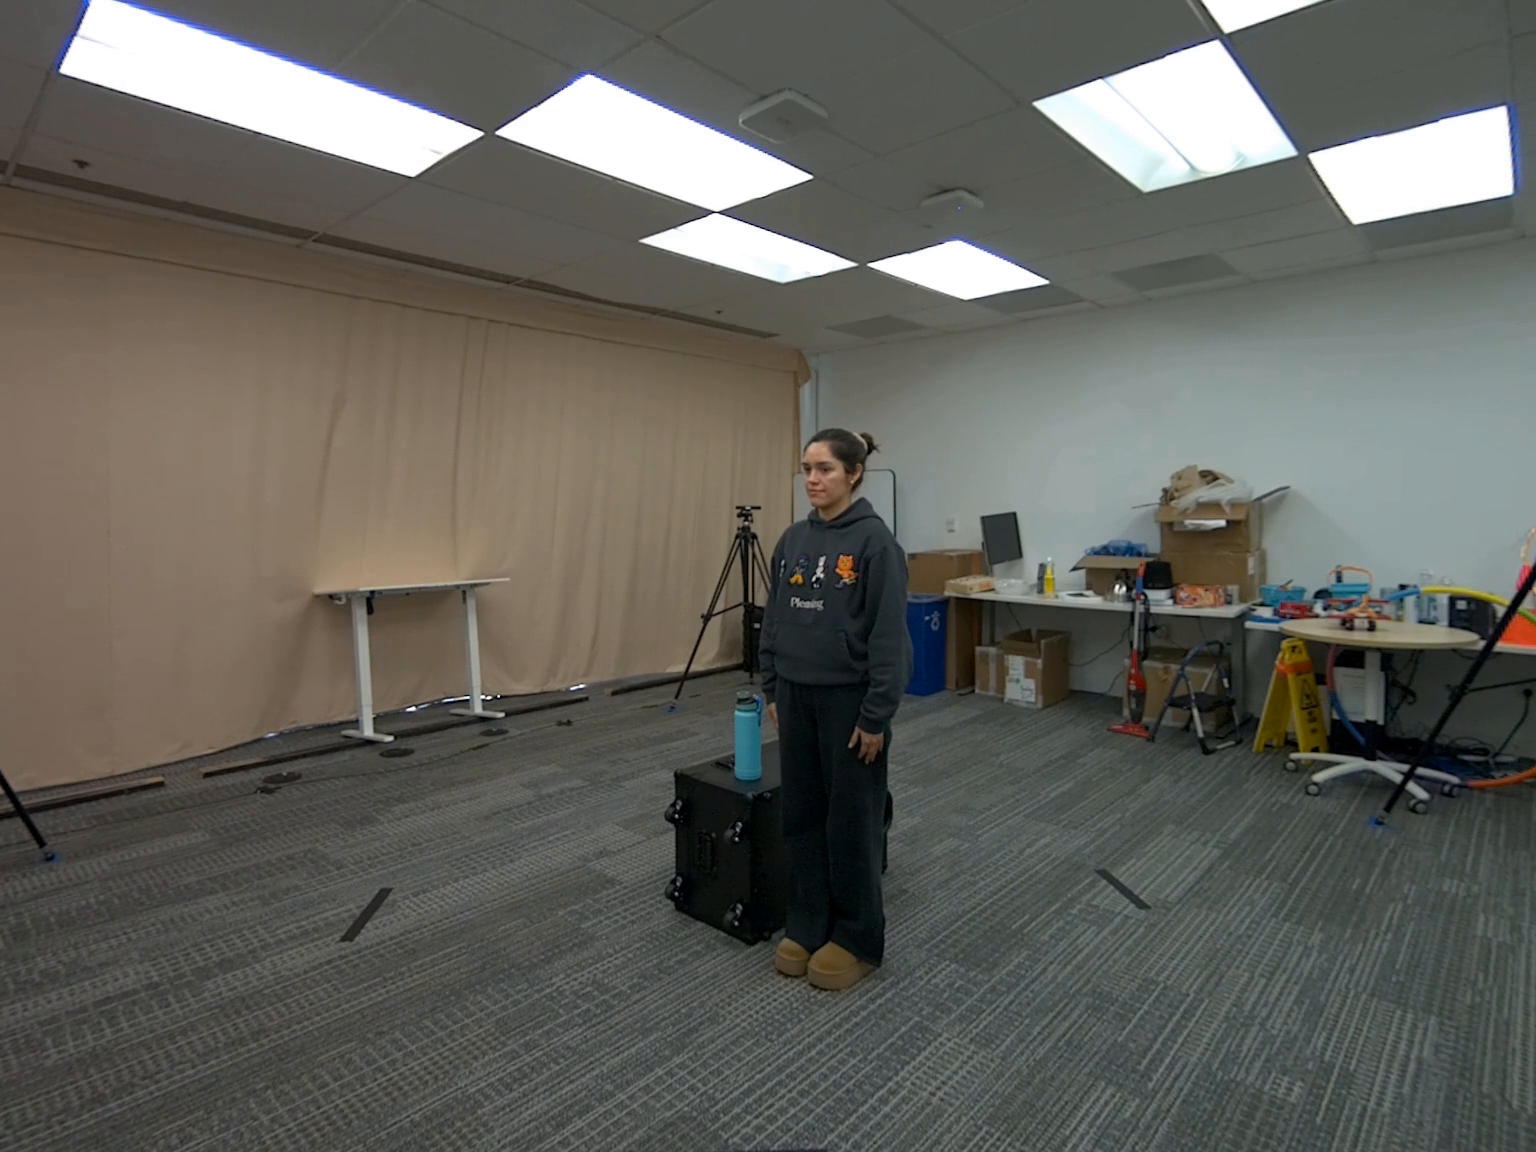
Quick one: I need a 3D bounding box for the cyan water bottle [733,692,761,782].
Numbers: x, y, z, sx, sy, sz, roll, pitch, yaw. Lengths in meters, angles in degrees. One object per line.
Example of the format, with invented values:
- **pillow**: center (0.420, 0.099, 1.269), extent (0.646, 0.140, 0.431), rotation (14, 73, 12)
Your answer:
- **cyan water bottle**: center (-0.052, 0.533, 2.827), extent (0.092, 0.283, 0.092), rotation (0, 2, -2)
